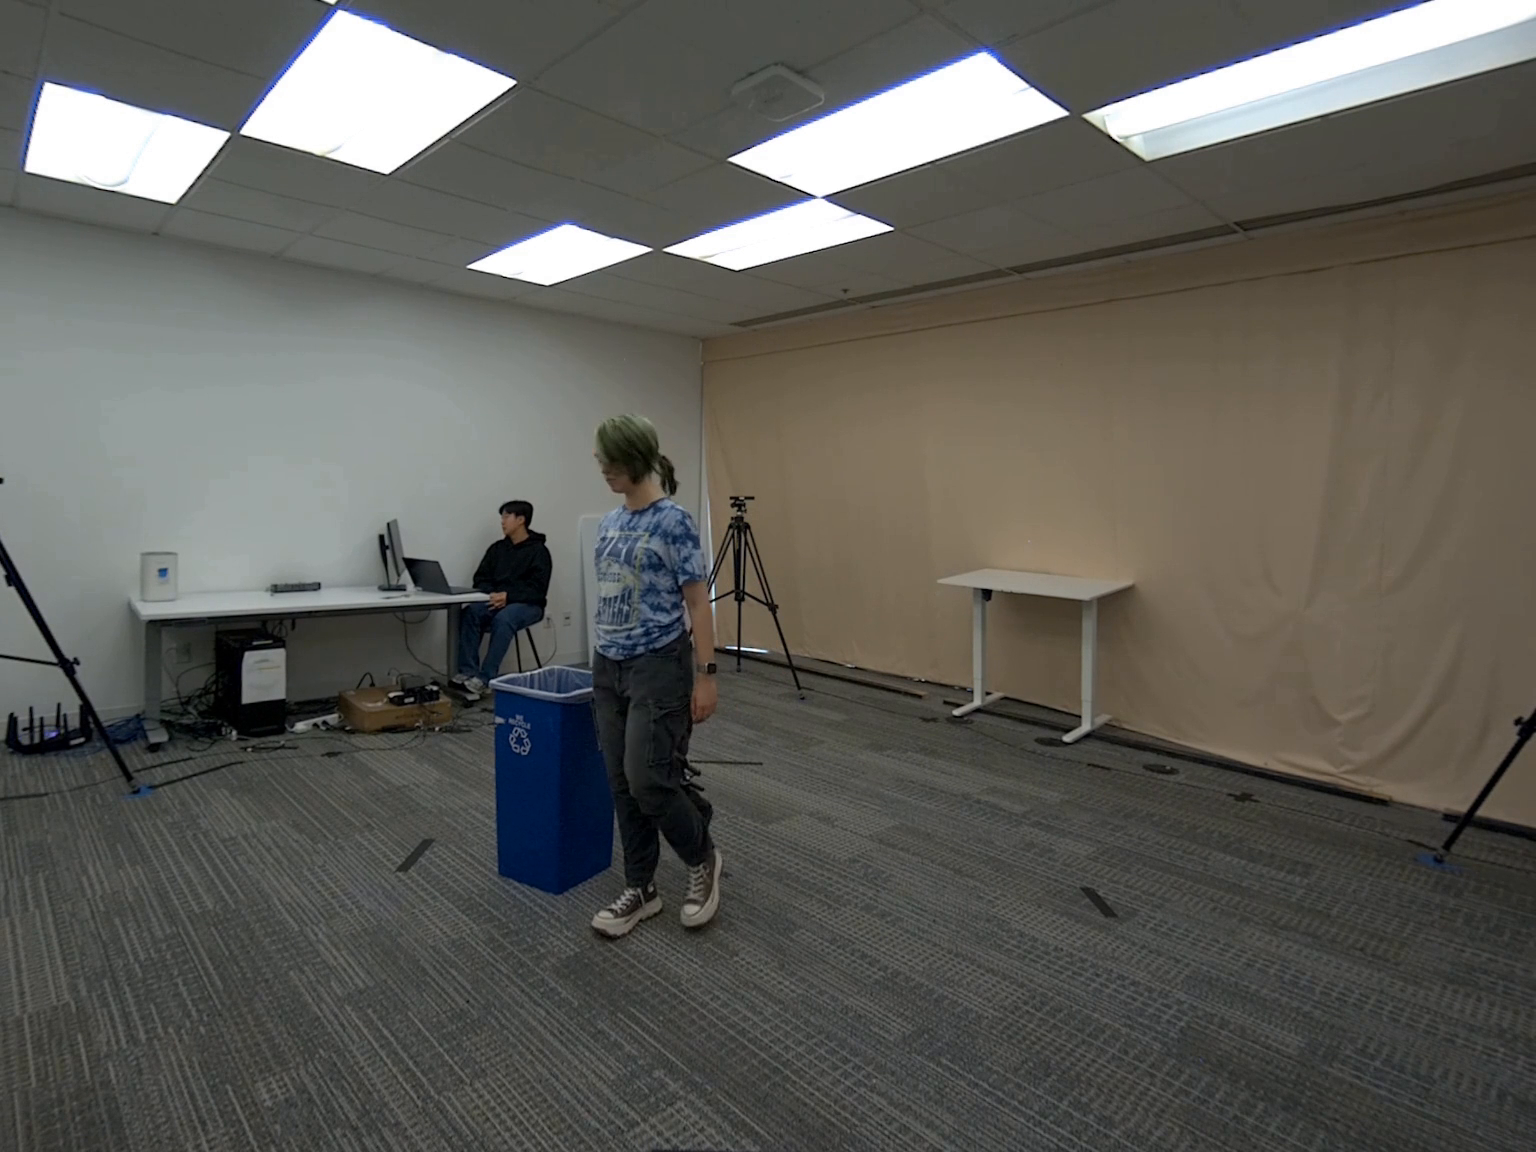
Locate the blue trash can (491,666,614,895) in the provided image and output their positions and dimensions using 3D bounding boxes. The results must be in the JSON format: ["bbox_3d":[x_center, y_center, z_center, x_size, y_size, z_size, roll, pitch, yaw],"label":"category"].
[{"bbox_3d":[-0.779,0.735,3.100,0.382,0.712,0.371,3,4,30],"label":"blue trash can"}]
